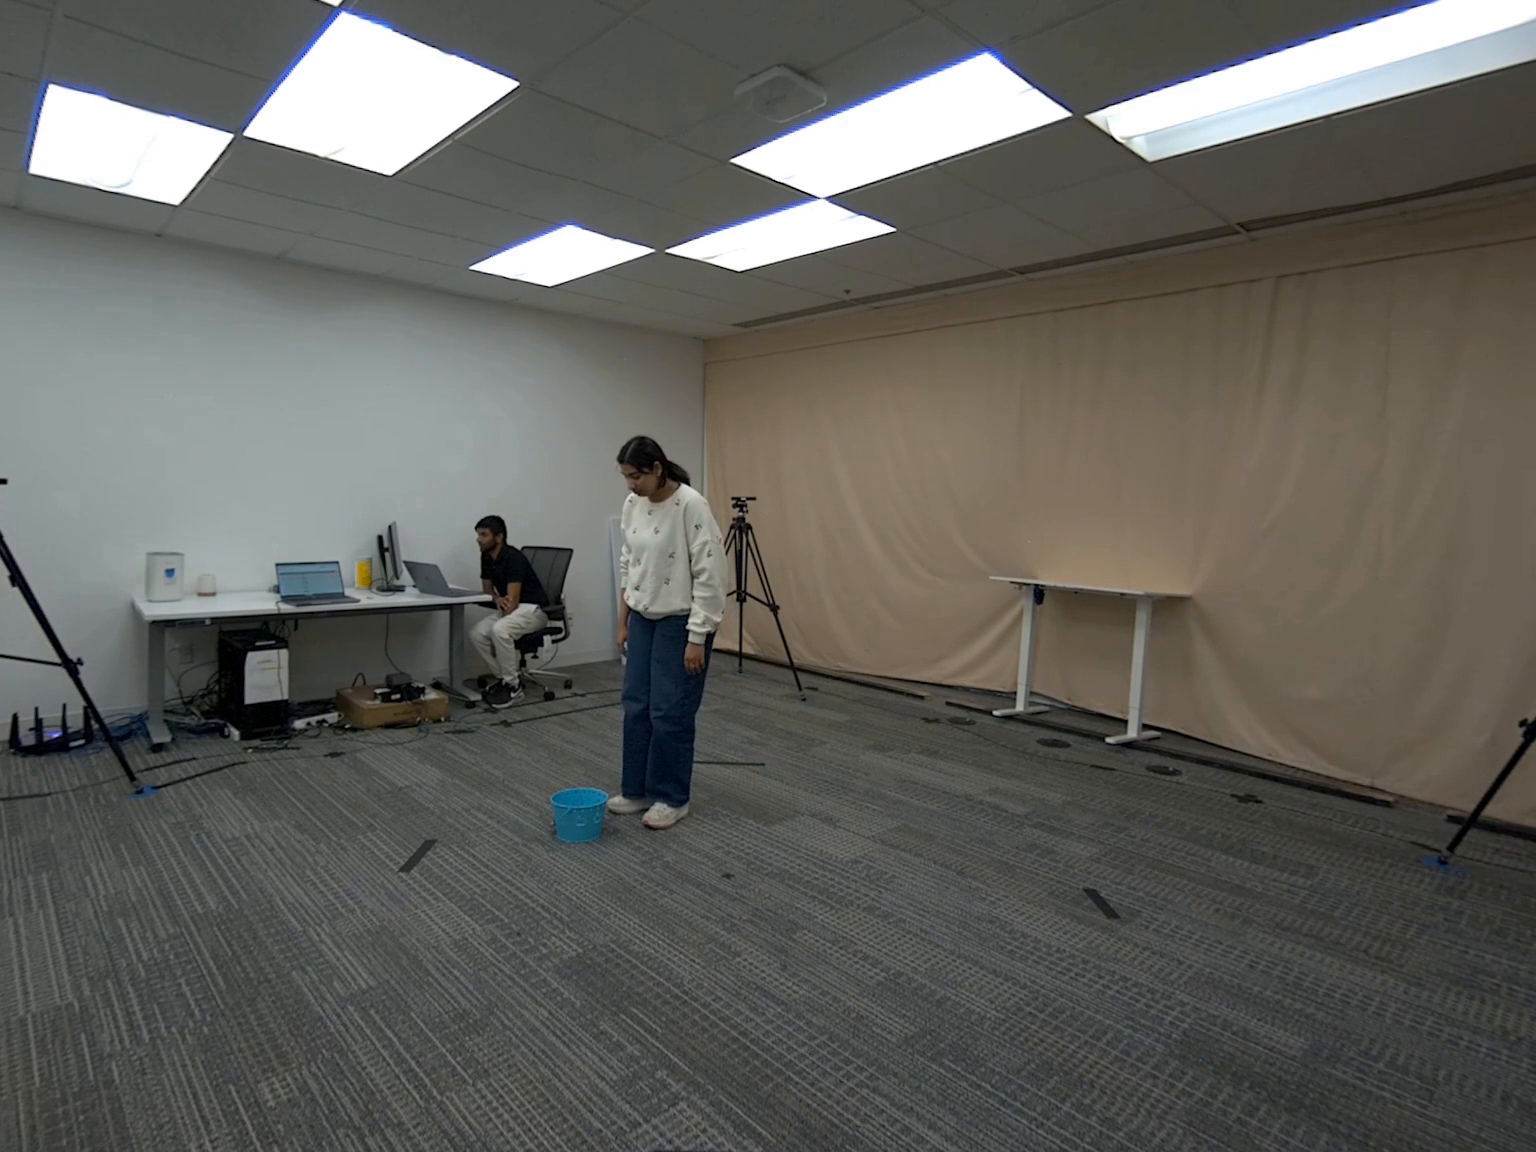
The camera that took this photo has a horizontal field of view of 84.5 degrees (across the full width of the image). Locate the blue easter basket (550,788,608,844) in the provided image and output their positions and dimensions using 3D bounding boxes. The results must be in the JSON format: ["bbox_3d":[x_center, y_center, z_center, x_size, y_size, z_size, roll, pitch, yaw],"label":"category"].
[{"bbox_3d":[-0.783,0.981,3.464,0.243,0.155,0.244,2,4,-2],"label":"blue easter basket"}]
